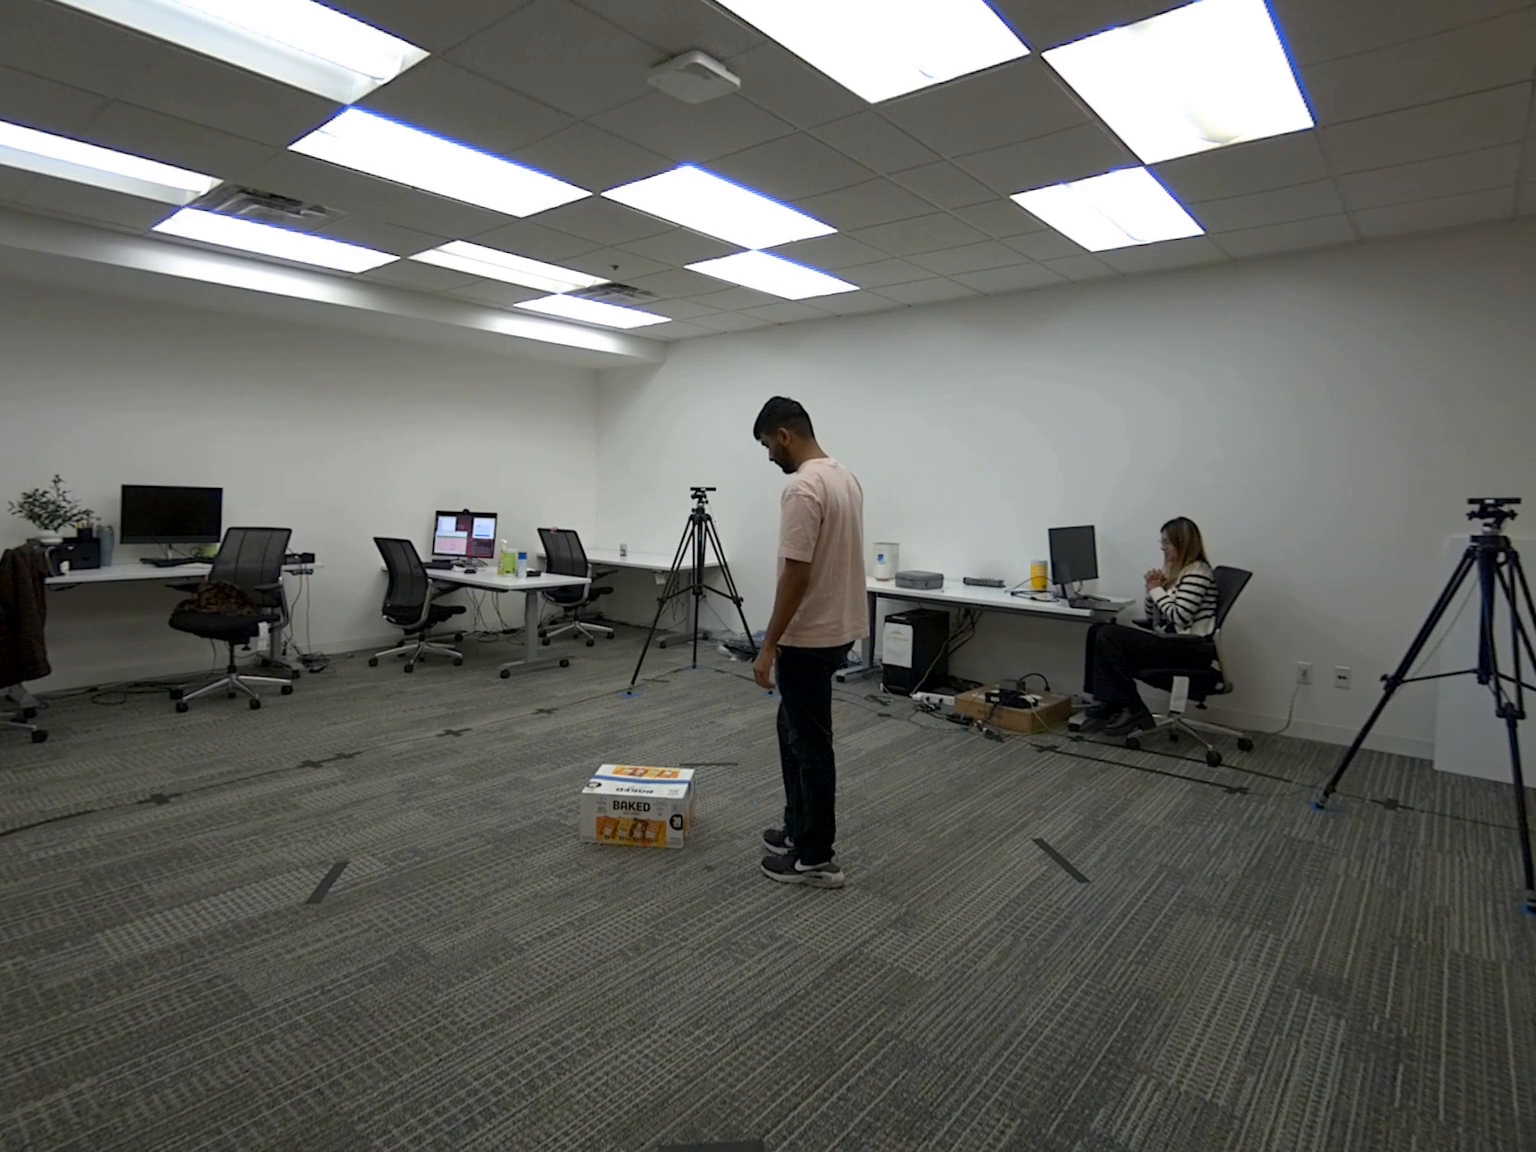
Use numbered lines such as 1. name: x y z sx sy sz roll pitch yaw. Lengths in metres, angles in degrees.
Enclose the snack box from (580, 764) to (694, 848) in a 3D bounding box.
1. snack box: -0.530 0.927 3.455 0.407 0.205 0.340 2 5 4
